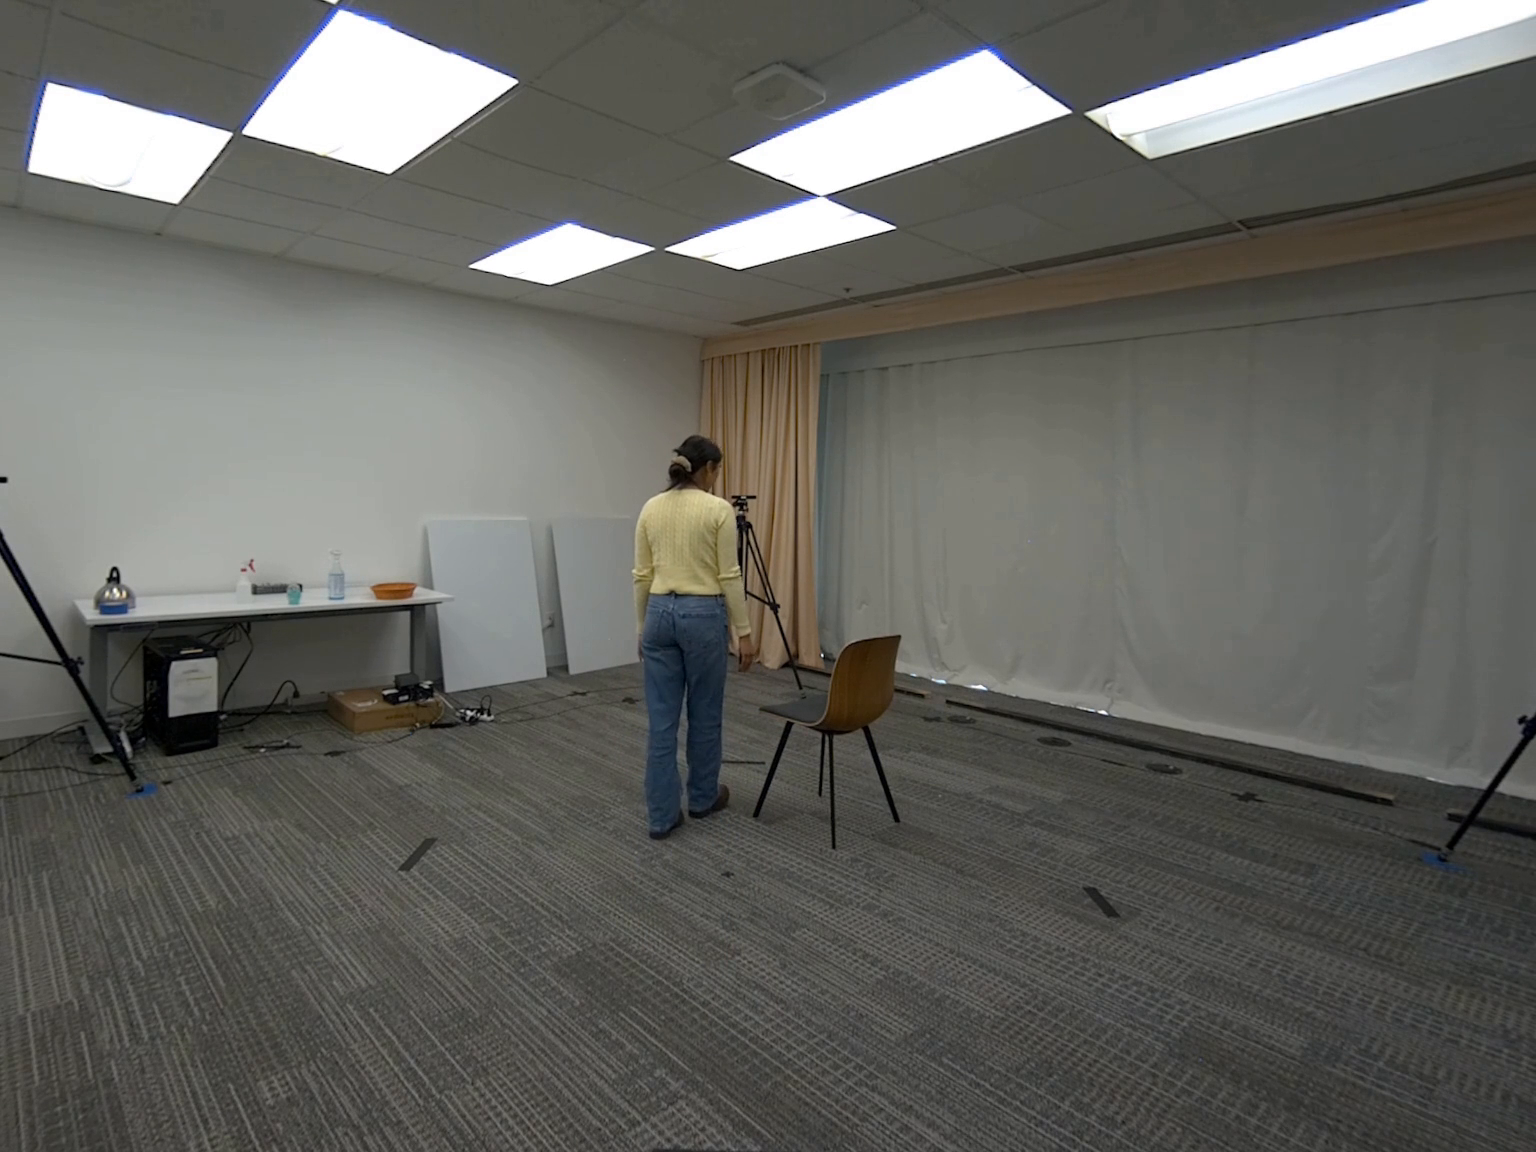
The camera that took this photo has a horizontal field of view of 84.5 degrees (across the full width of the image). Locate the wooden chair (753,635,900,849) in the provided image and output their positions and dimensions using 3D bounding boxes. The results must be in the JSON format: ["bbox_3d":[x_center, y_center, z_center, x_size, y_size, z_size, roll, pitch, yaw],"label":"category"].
[{"bbox_3d":[0.247,0.632,3.636,0.467,0.874,0.537,-2,9,-45],"label":"wooden chair"}]
